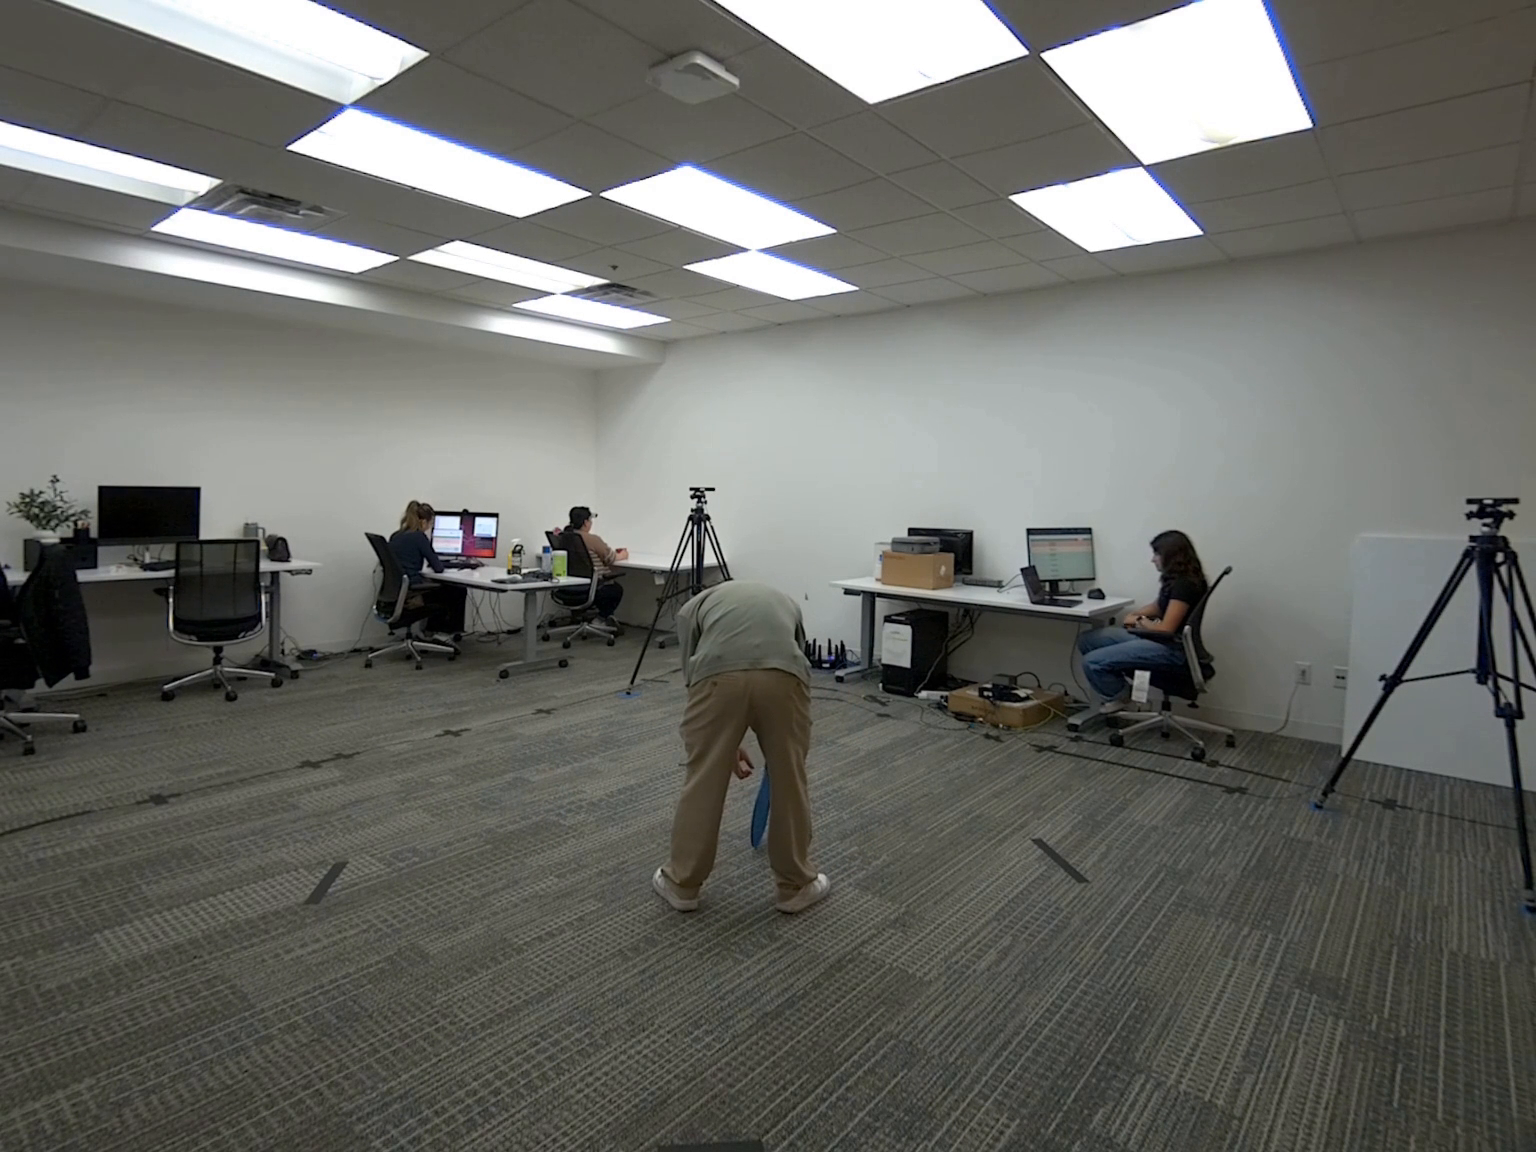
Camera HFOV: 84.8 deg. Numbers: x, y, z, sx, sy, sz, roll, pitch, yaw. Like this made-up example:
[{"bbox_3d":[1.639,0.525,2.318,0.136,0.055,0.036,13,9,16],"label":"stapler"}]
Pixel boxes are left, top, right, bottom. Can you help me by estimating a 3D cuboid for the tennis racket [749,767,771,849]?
[{"bbox_3d":[-0.028,0.828,3.297,0.032,0.432,0.209,8,2,17],"label":"tennis racket"}]
